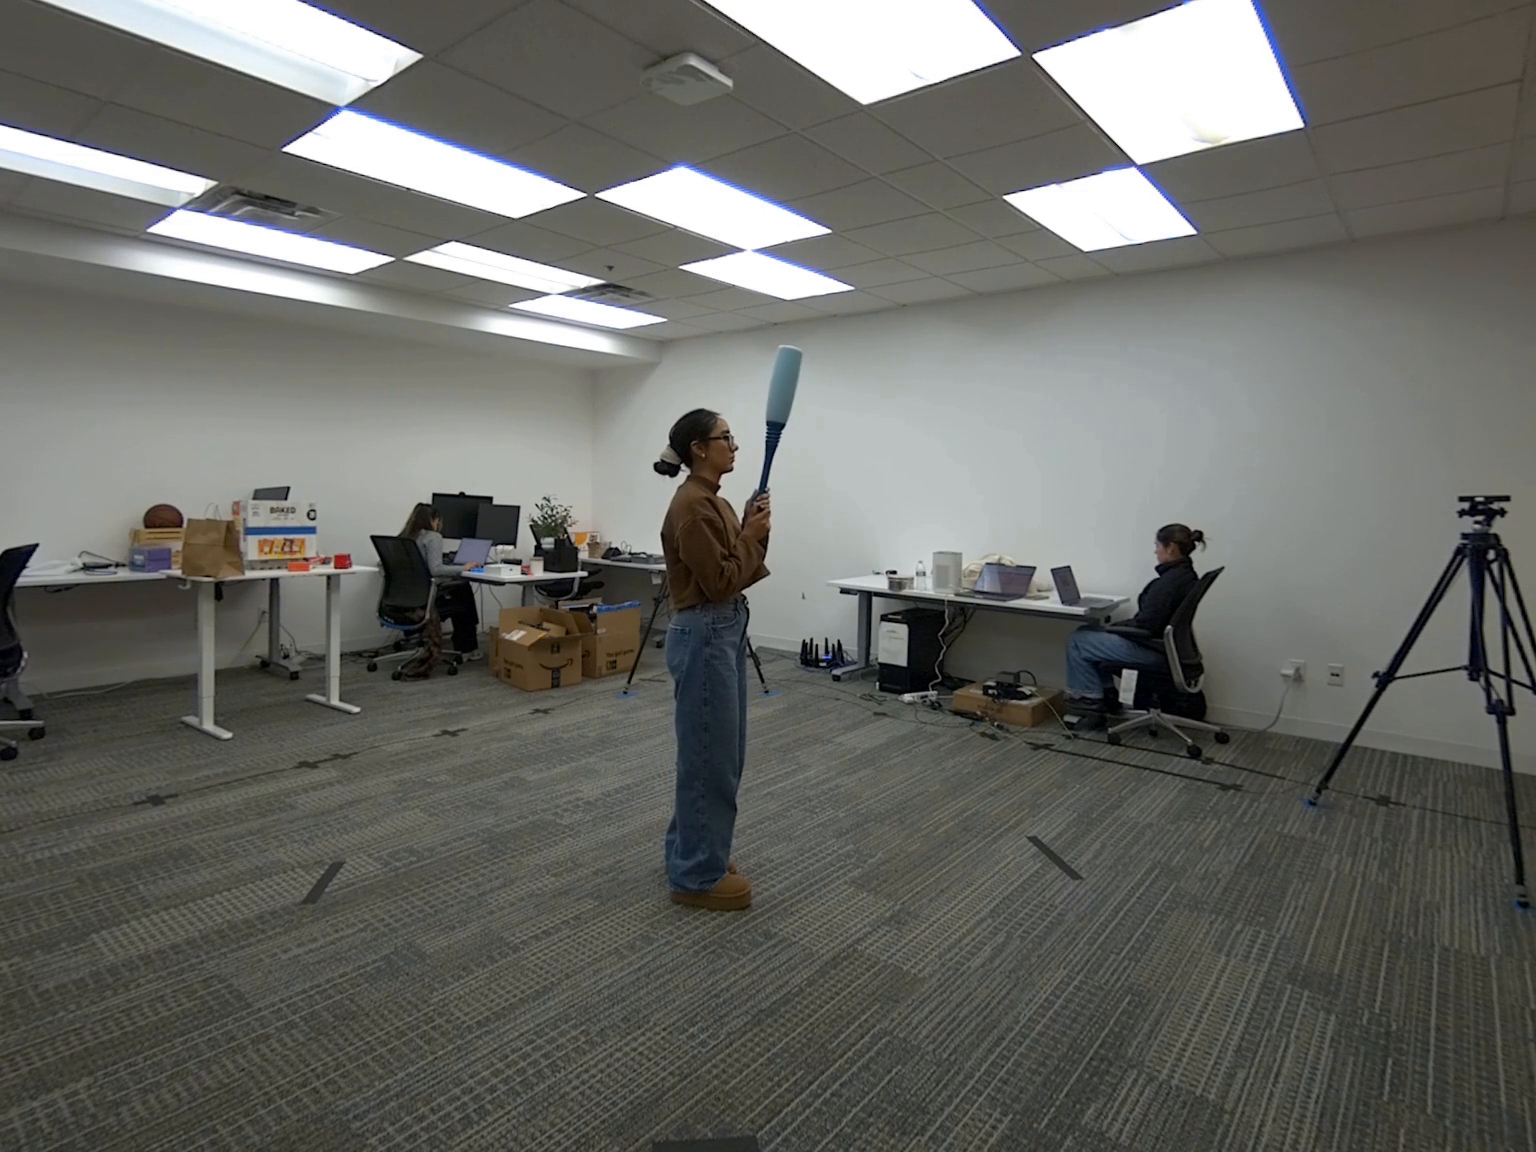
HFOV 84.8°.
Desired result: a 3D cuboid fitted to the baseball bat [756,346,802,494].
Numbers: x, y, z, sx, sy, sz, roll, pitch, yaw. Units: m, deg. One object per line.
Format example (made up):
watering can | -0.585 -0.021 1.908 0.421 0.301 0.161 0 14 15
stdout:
baseball bat | 0.005 -0.488 2.810 0.089 0.541 0.089 11 5 -3
